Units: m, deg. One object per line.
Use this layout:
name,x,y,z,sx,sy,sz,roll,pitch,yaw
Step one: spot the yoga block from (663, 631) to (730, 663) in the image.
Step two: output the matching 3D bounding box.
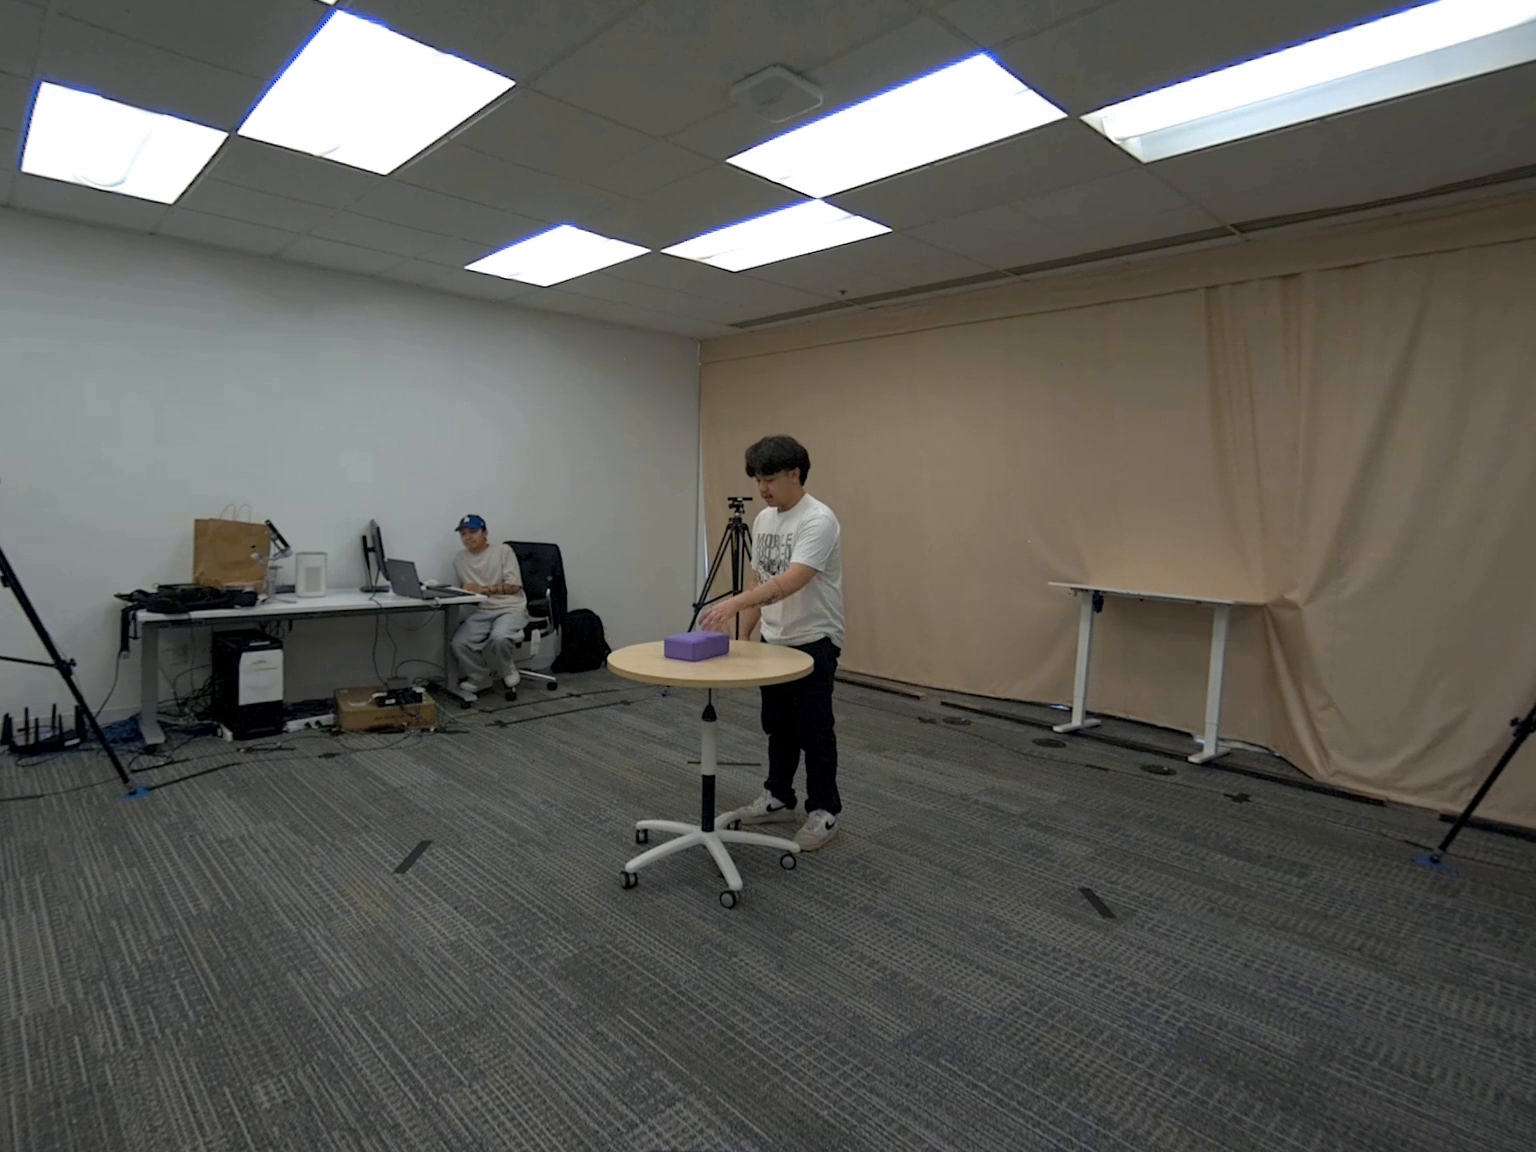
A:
yoga block,-0.273,0.262,3.167,0.152,0.076,0.225,4,6,33
